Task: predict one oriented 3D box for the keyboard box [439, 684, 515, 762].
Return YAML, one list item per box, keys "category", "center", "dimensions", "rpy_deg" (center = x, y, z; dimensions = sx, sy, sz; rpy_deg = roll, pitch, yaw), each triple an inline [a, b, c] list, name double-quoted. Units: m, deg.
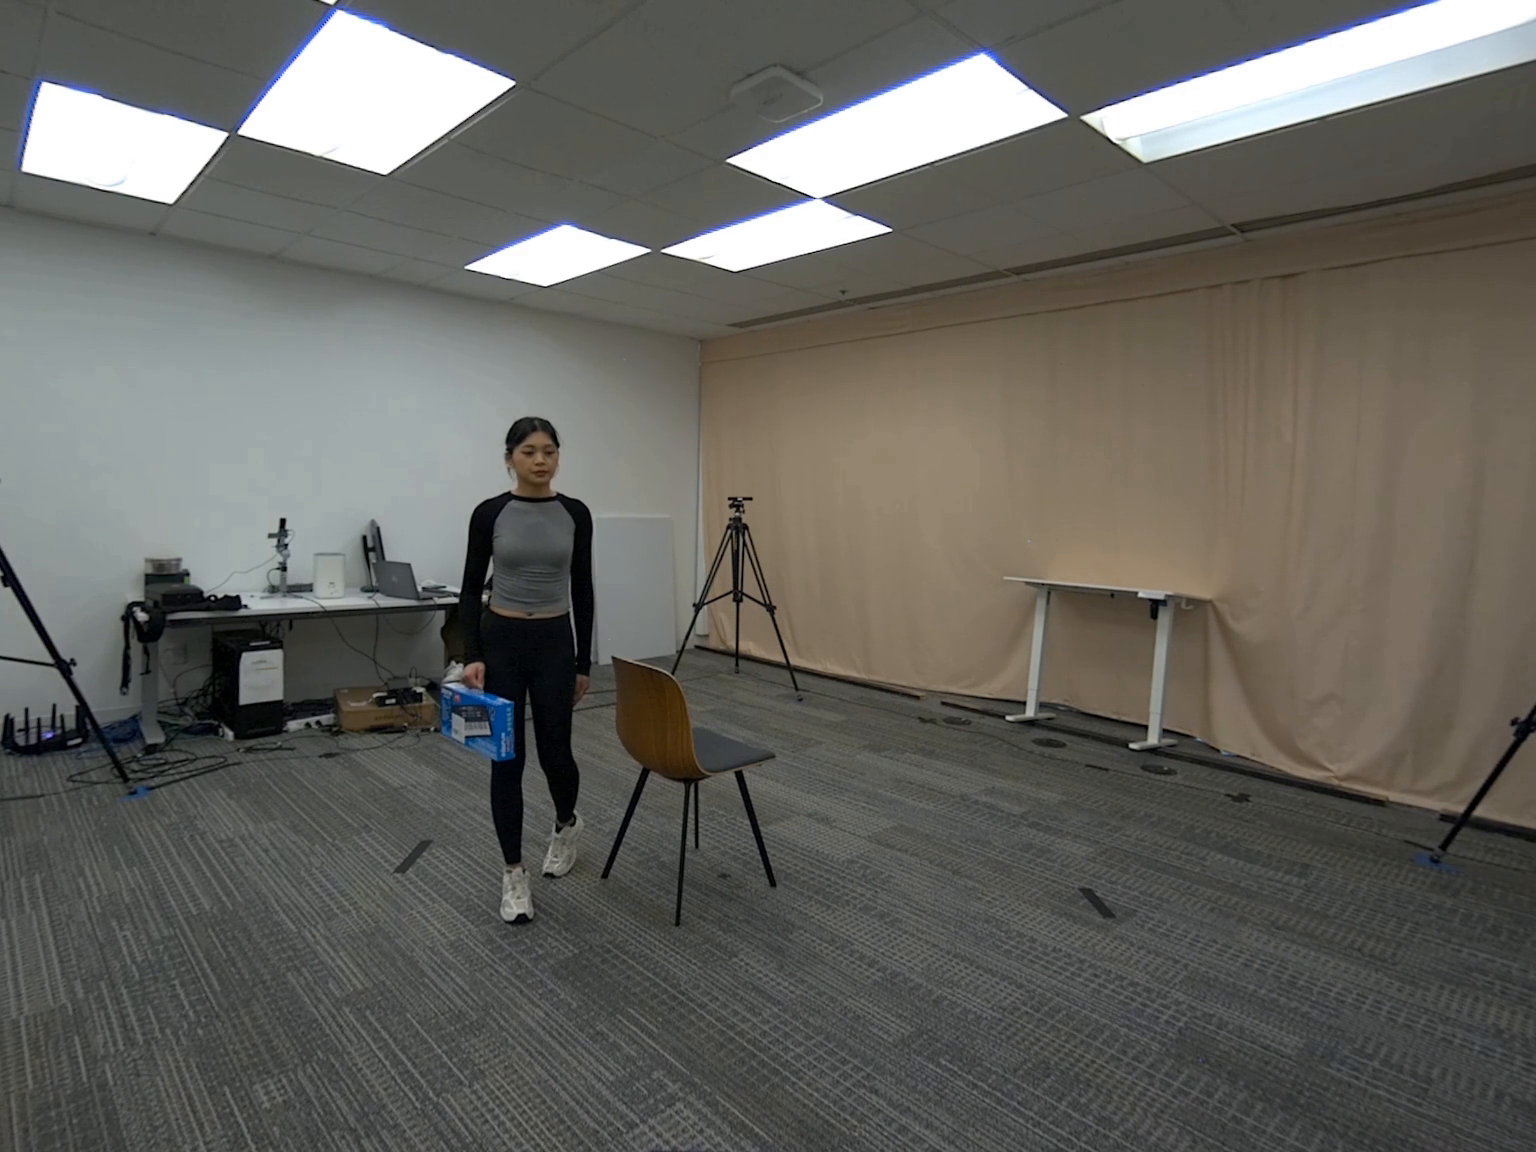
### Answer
- category: "keyboard box"
  center: [-0.943, 0.465, 2.708]
  dimensions: [0.058, 0.176, 0.447]
  rpy_deg: [-1, 3, -40]
